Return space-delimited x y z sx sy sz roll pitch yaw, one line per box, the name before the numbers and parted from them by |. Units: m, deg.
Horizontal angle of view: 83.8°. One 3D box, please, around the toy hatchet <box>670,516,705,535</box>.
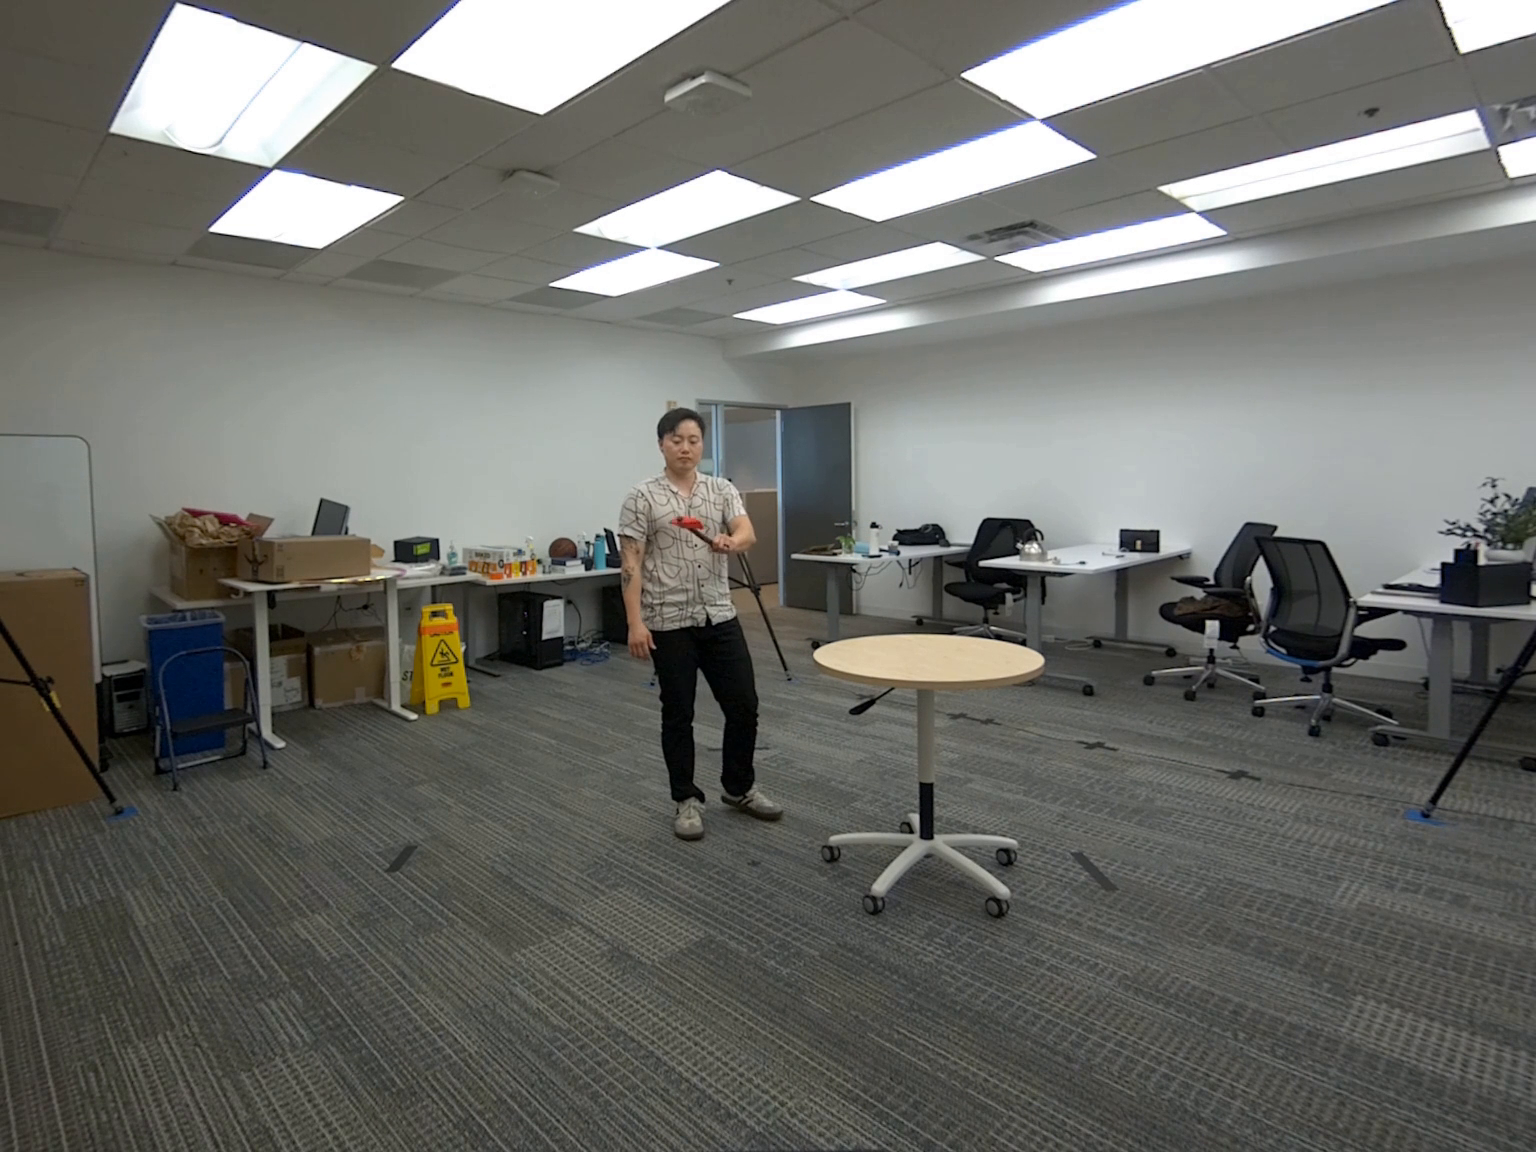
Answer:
toy hatchet | -0.212 -0.149 2.996 0.262 0.030 0.133 24 -23 -27
